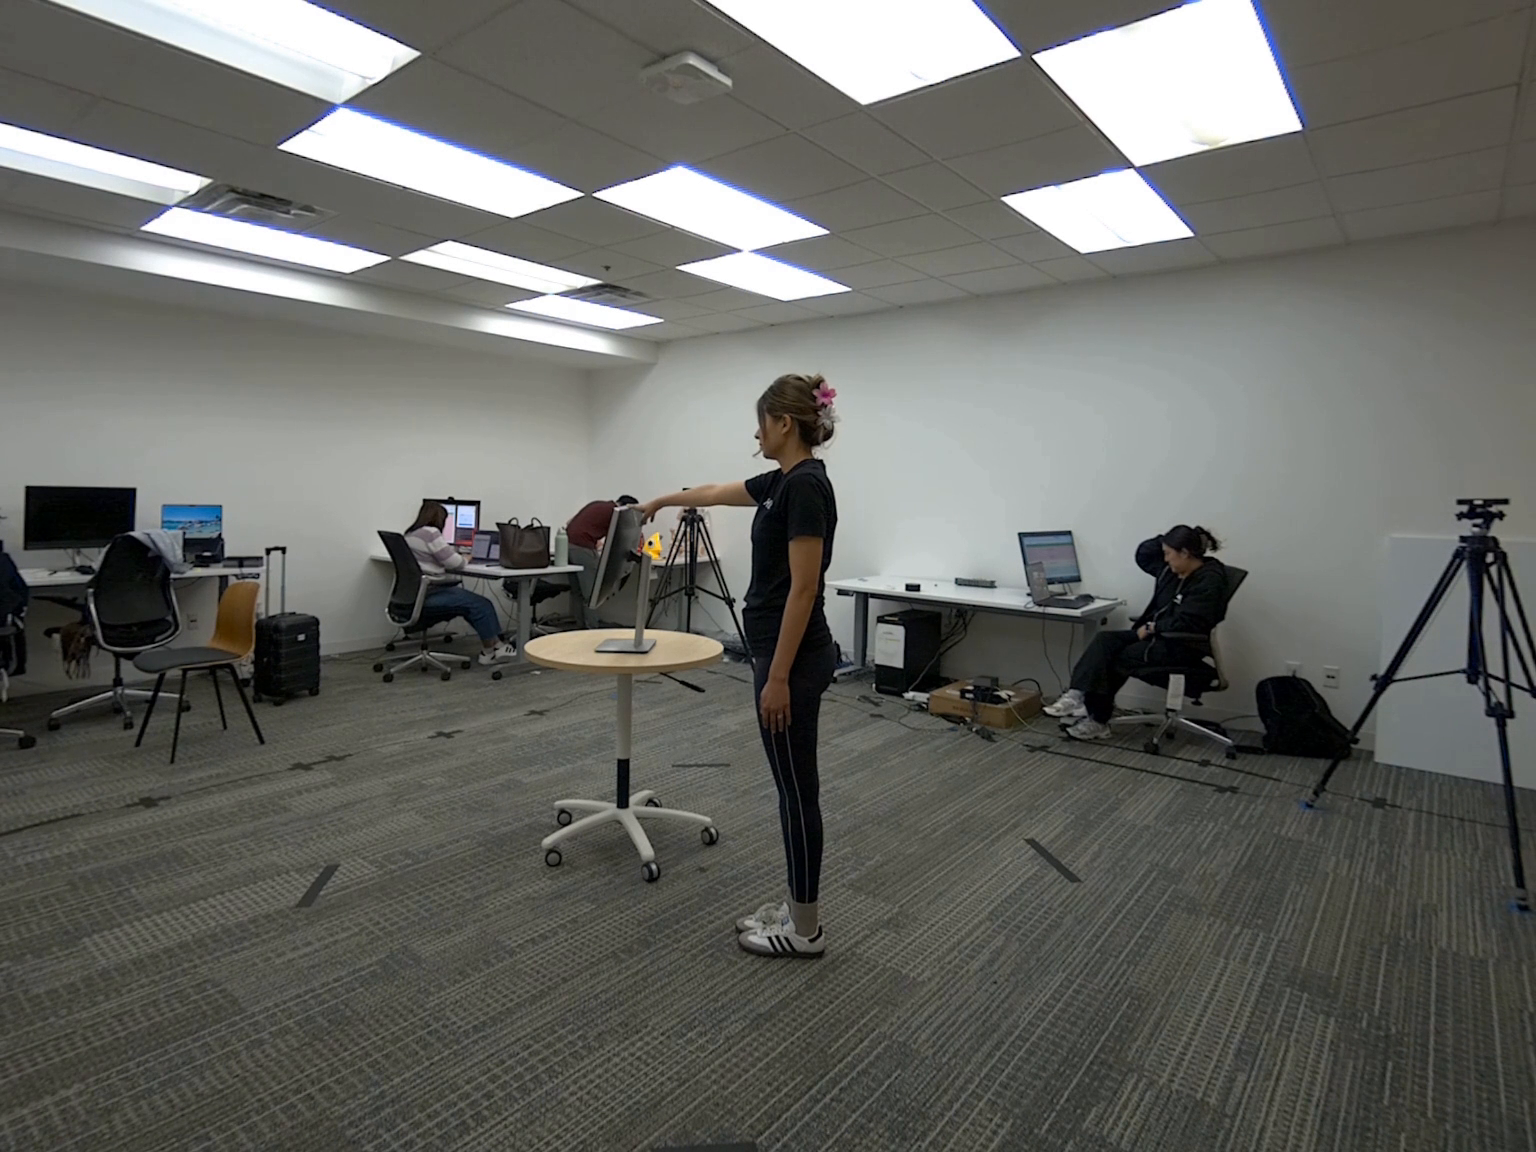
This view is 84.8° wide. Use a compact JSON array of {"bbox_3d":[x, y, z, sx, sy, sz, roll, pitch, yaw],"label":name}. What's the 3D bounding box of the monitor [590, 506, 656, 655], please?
[{"bbox_3d":[-0.545,0.009,3.246,0.187,0.521,0.541,2,5,-1],"label":"monitor"}]
